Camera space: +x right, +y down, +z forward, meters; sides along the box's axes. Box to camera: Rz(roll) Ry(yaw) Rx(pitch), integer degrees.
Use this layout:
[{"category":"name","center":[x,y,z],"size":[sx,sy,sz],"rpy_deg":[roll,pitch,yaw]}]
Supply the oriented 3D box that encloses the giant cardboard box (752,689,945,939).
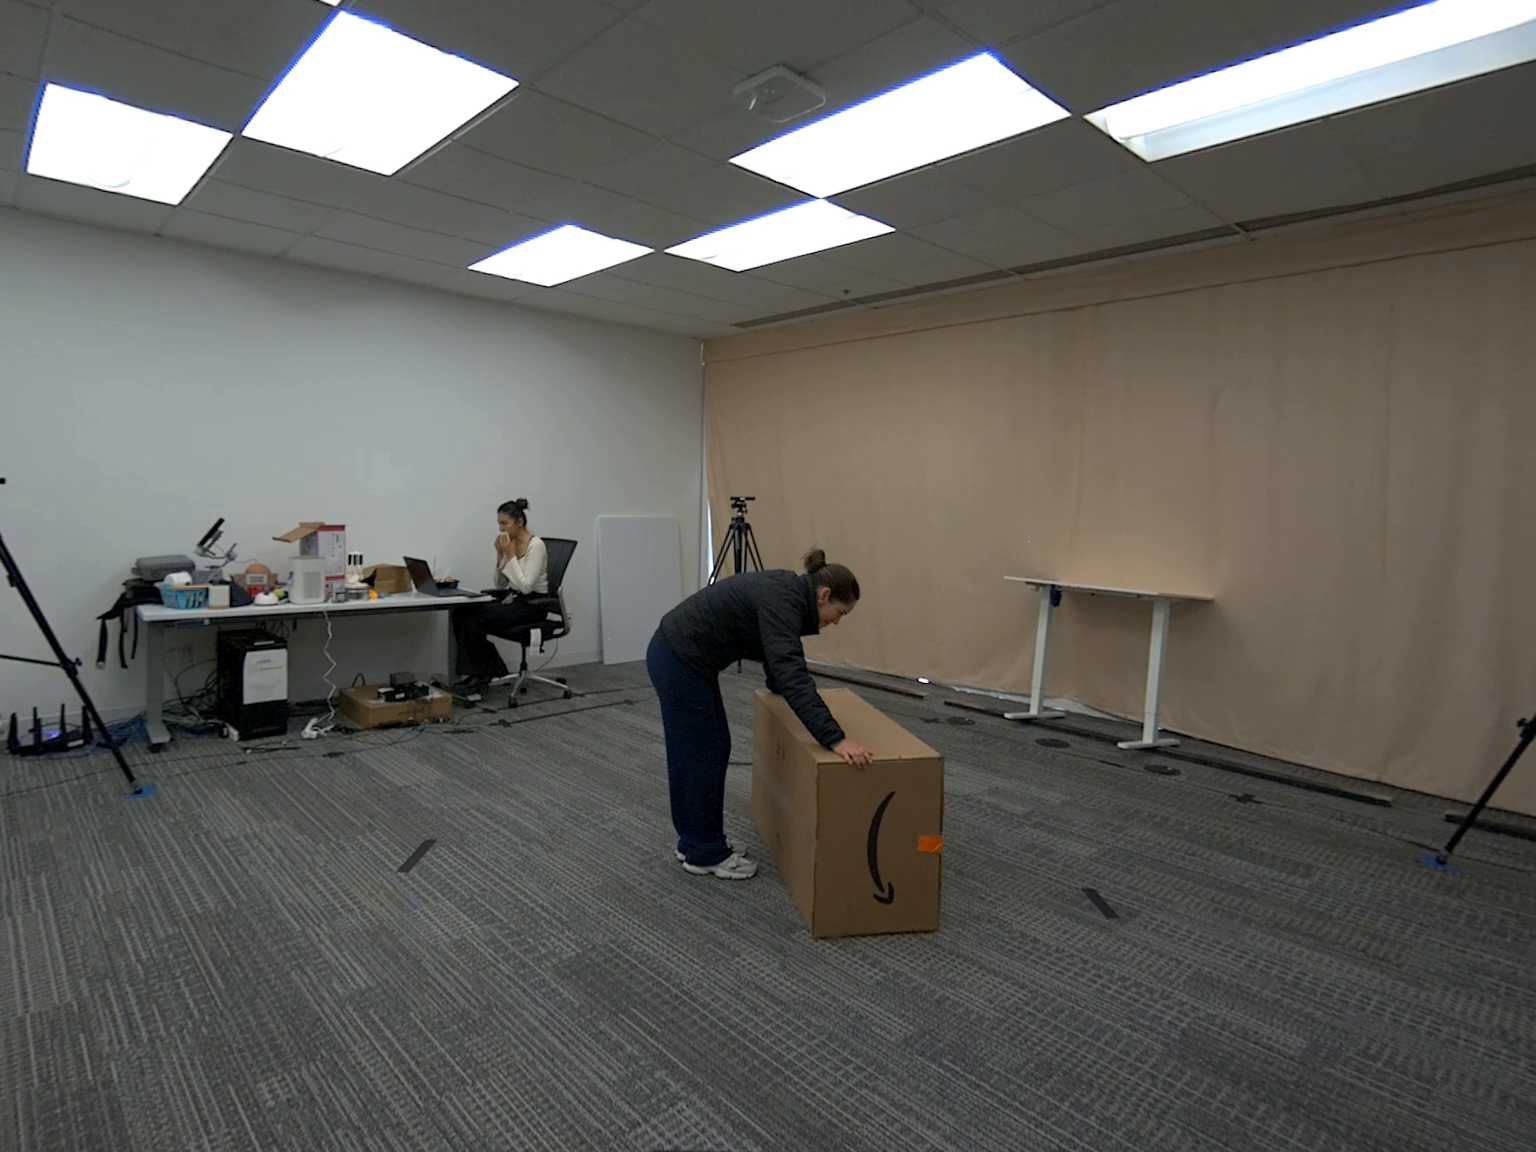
[{"category":"giant cardboard box","center":[0.249,0.819,3.174],"size":[0.443,0.582,1.039],"rpy_deg":[-1,5,-12]}]
